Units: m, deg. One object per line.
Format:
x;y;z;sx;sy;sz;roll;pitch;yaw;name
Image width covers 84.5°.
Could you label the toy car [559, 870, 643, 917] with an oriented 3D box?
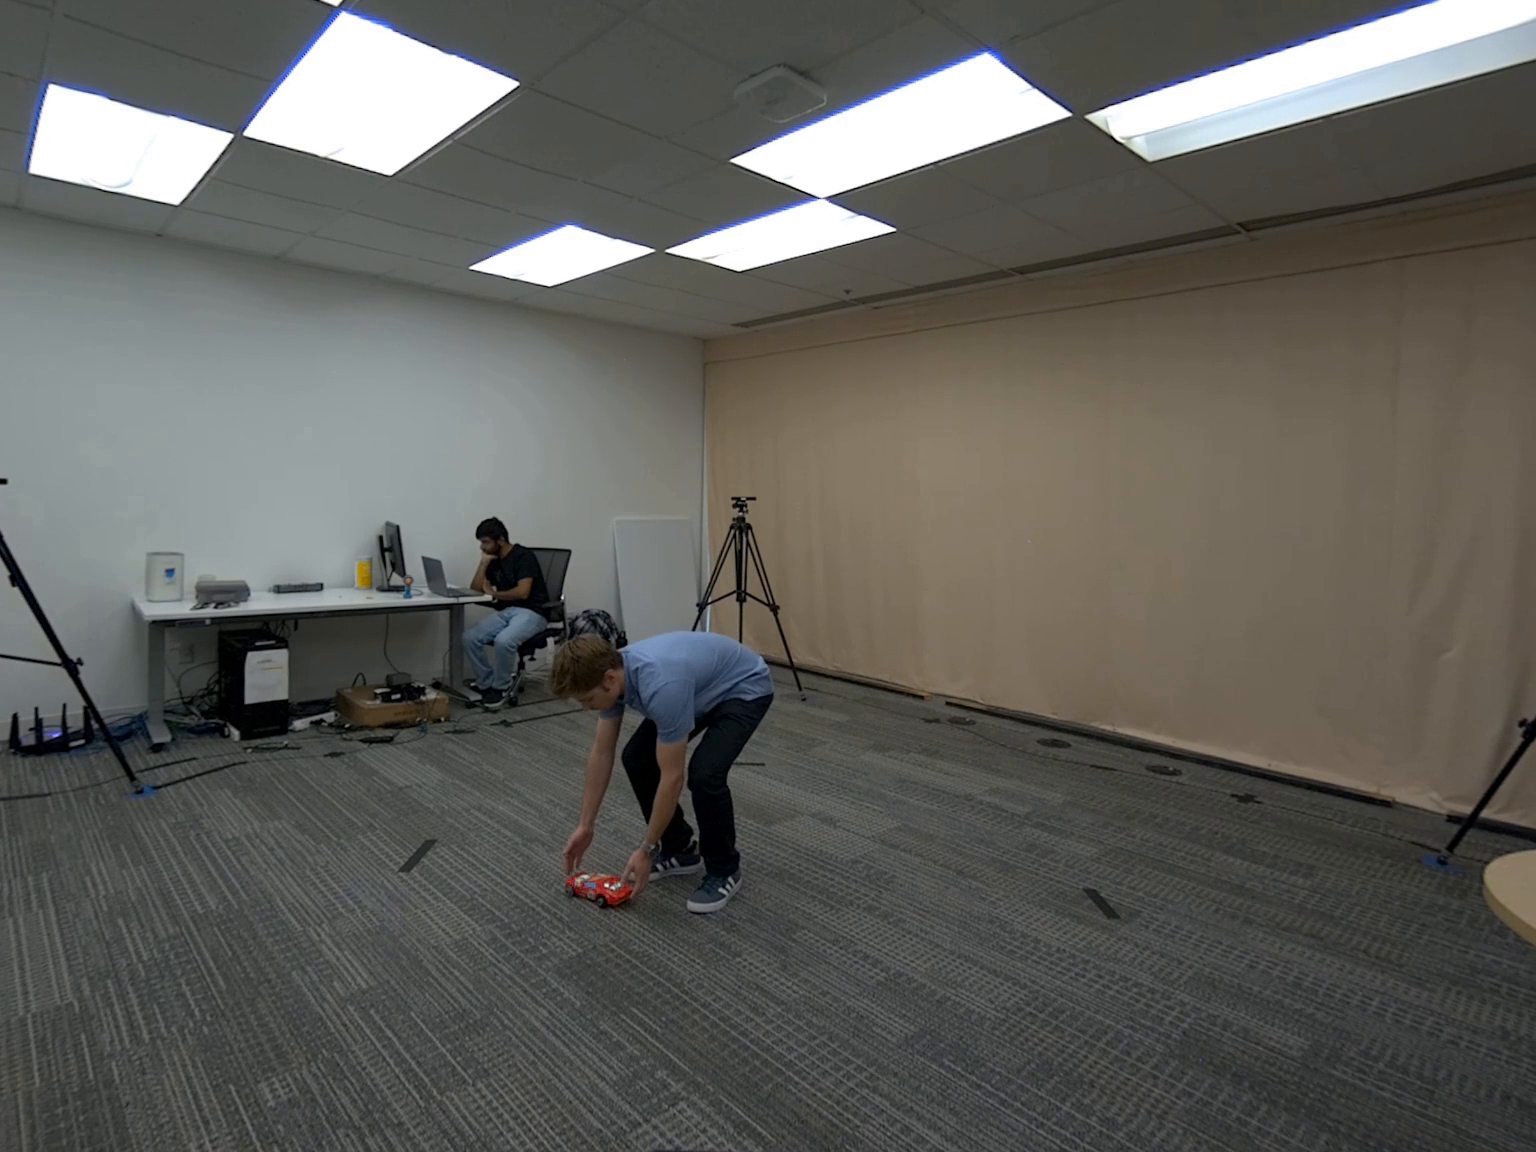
-0.576;1.084;2.904;0.259;0.083;0.127;-7;-1;33;toy car
